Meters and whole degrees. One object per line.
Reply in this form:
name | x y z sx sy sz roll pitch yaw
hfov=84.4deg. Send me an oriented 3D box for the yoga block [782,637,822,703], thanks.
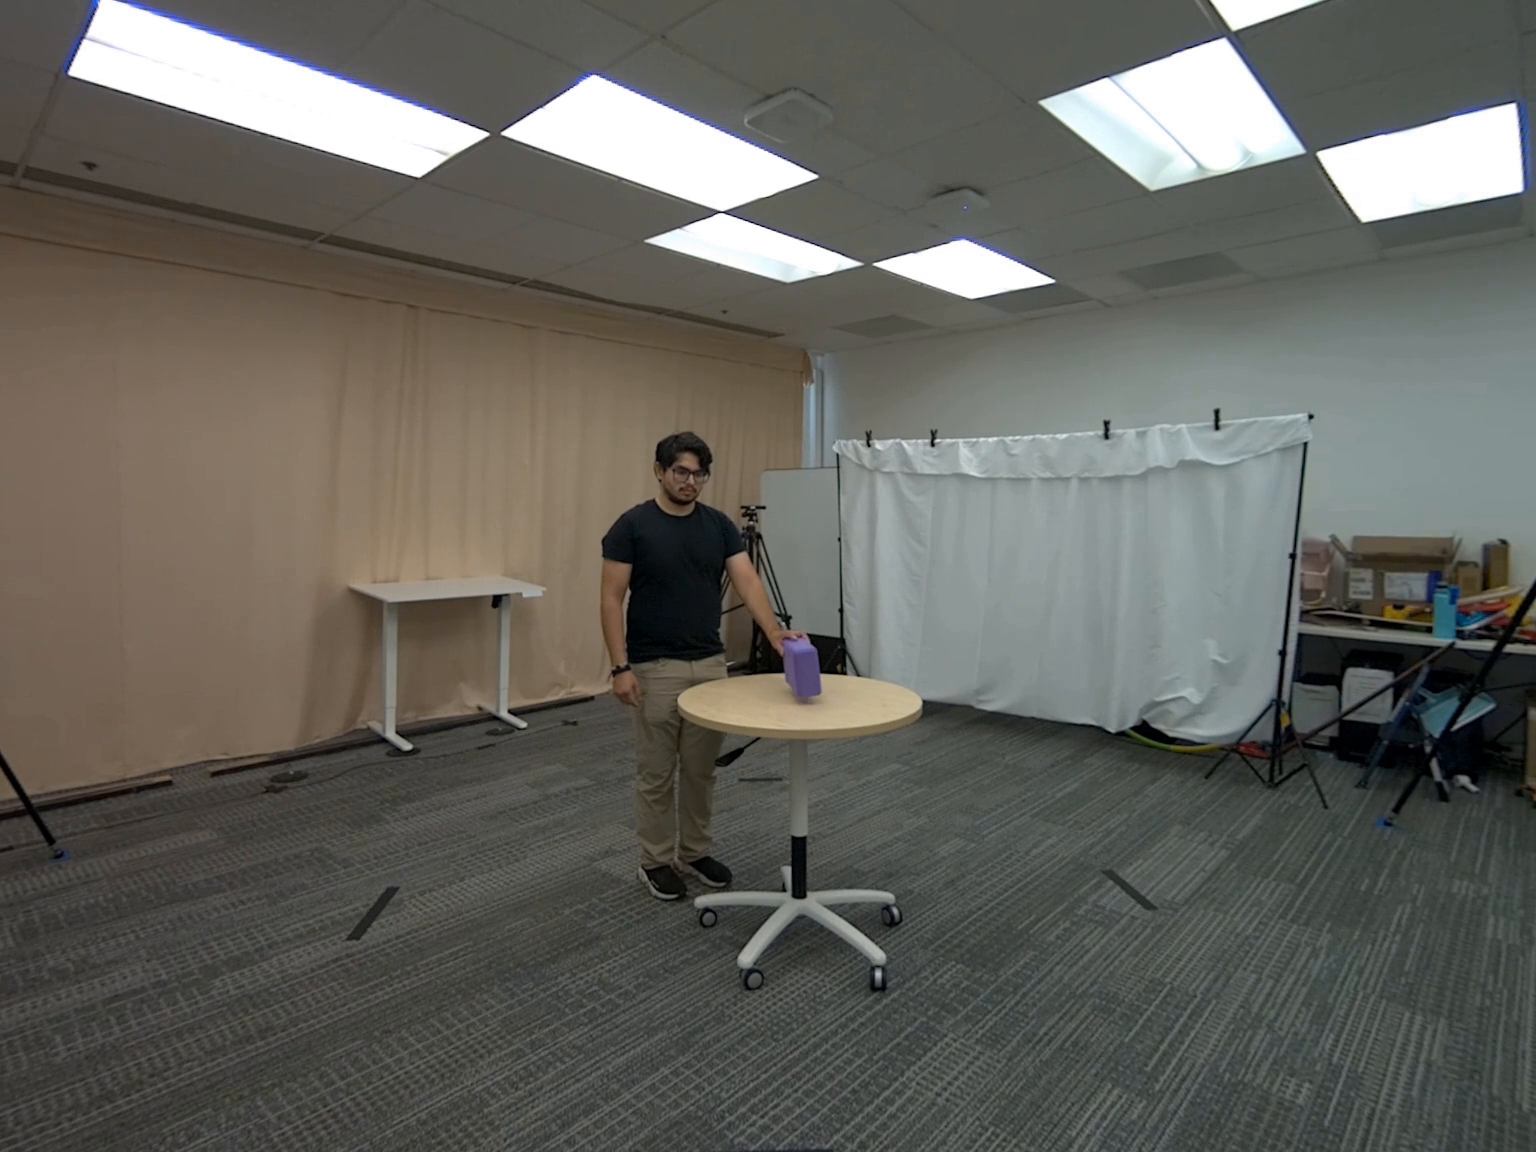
yoga block | 0.113 0.277 2.657 0.076 0.149 0.231 -3 4 -6
